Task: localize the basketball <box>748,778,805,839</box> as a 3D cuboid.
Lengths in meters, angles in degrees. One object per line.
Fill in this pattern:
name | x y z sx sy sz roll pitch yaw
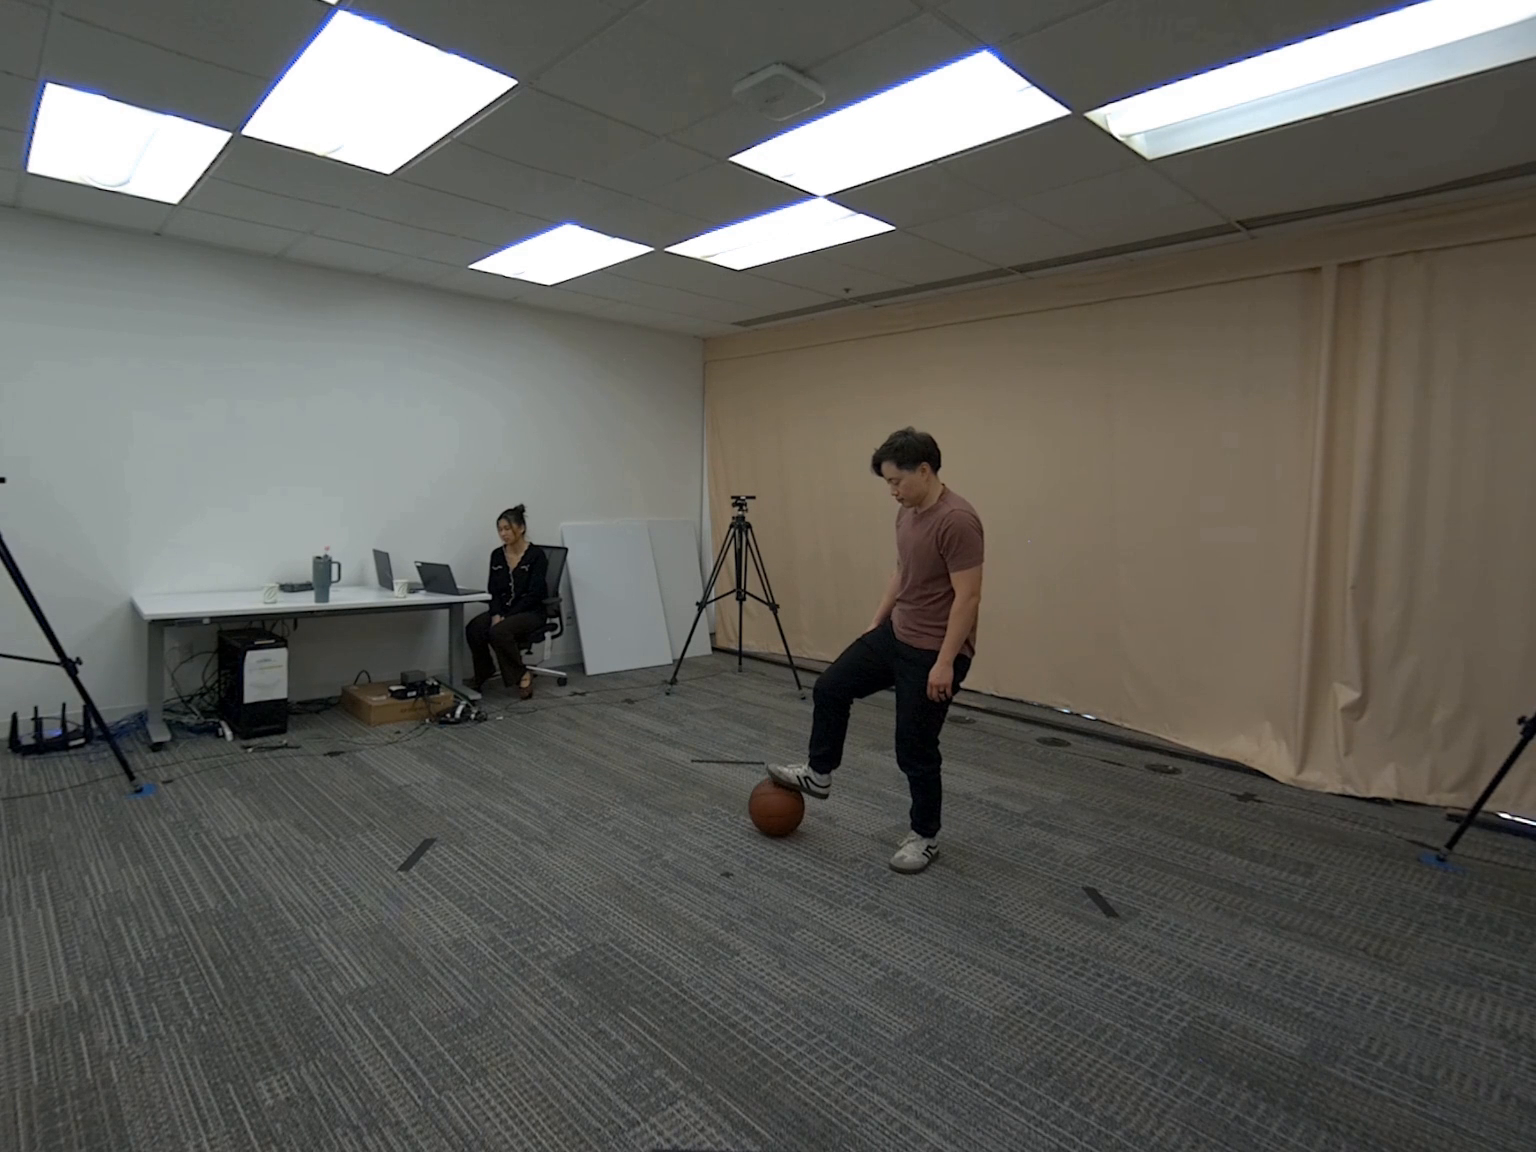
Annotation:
basketball | 0.034 0.955 3.498 0.236 0.235 0.237 1 4 -1
